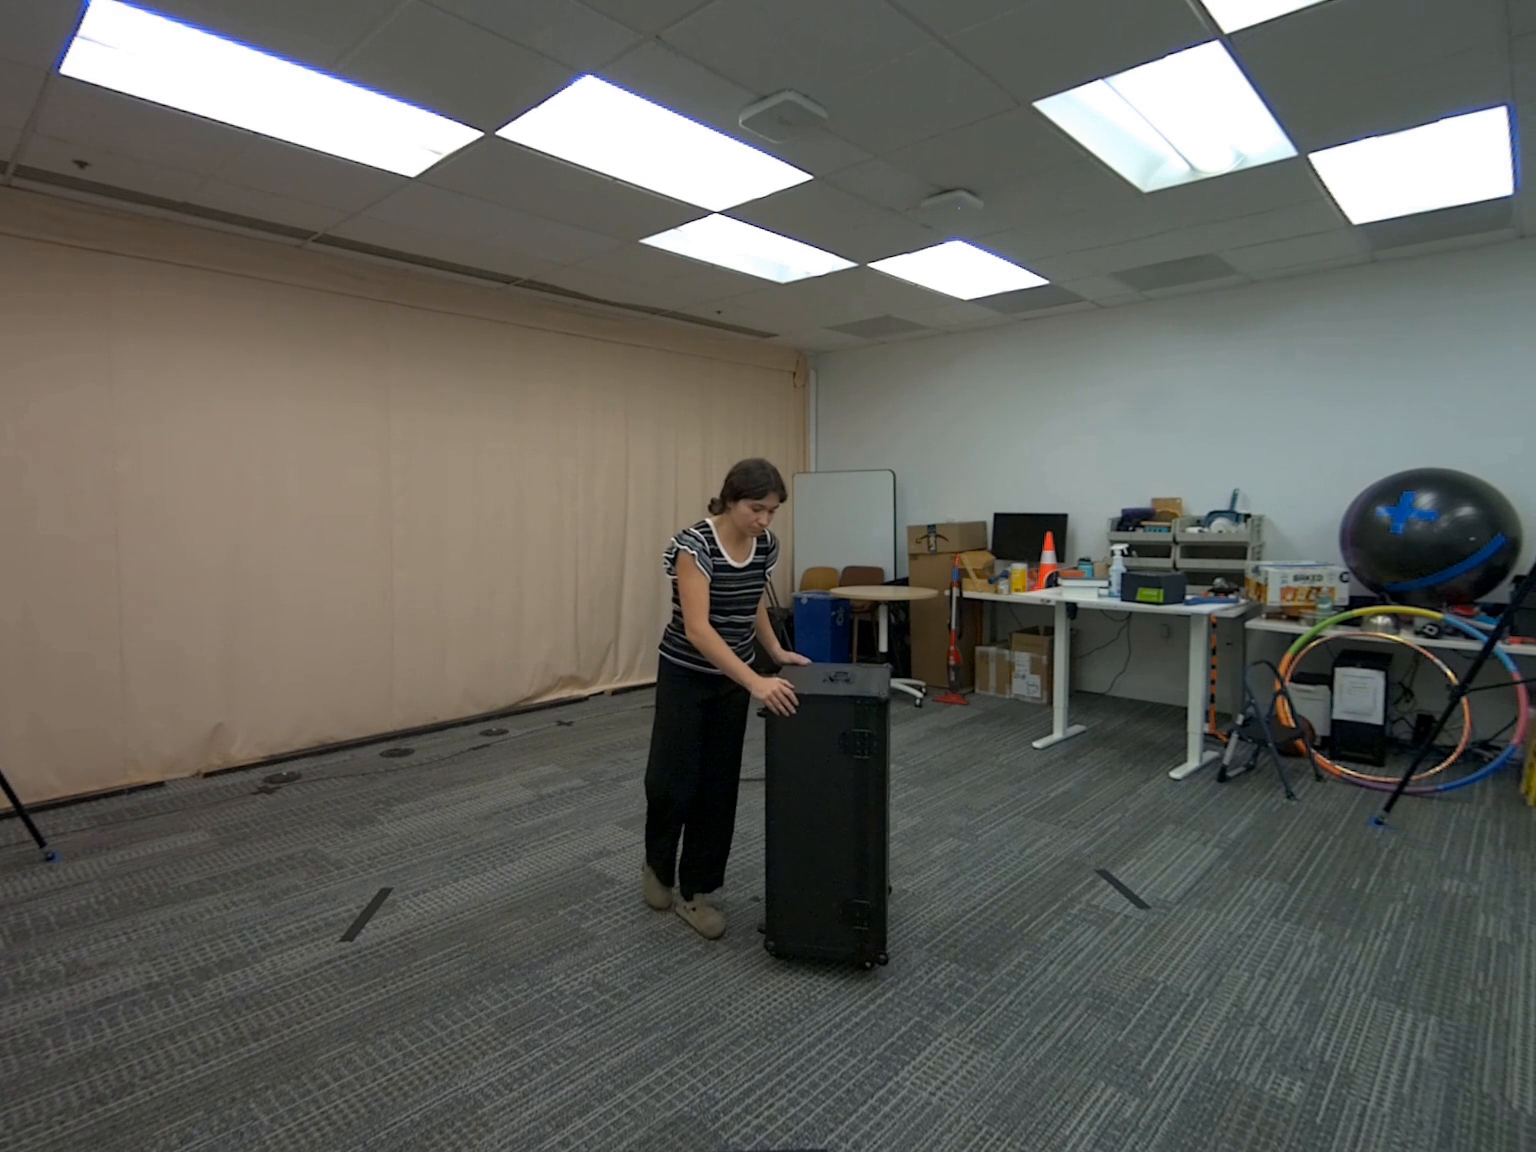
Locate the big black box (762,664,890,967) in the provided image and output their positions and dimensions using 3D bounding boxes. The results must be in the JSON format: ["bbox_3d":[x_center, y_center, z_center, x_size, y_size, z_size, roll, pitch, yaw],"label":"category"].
[{"bbox_3d":[0.194,0.743,2.673,0.401,0.860,0.516,0,3,10],"label":"big black box"}]
